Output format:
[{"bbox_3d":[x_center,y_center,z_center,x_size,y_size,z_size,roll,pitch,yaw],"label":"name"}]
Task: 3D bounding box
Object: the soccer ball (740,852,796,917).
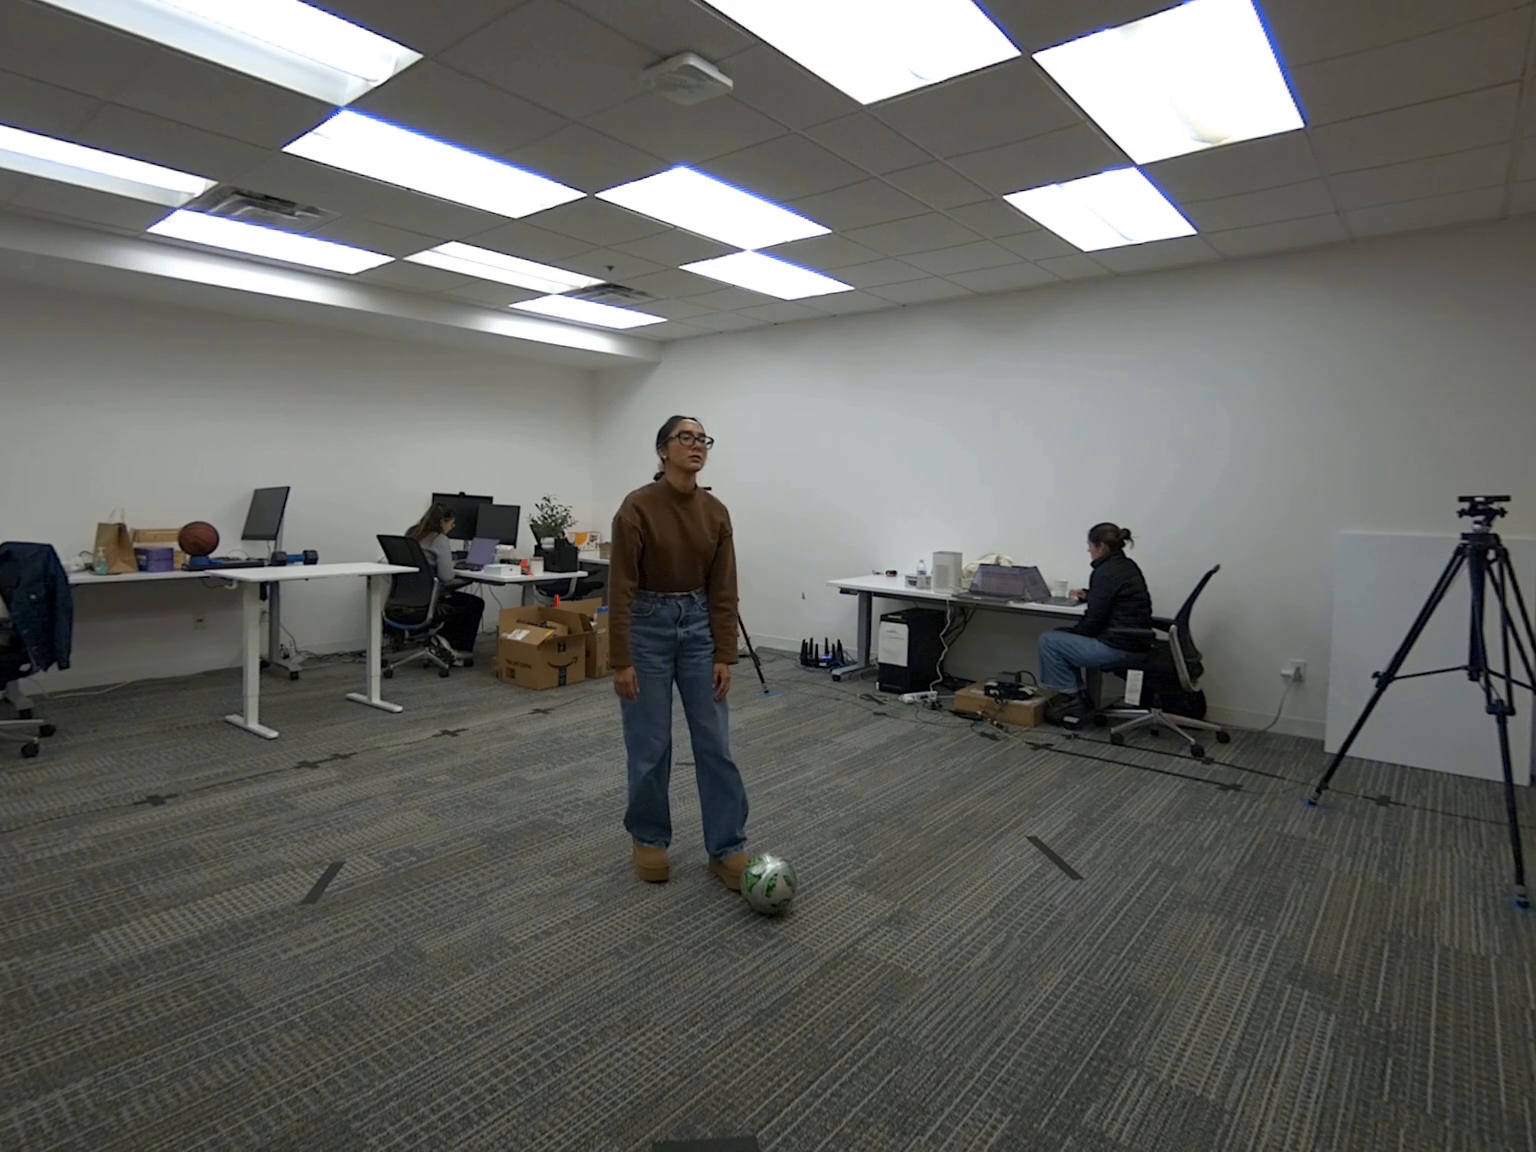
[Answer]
[{"bbox_3d":[-0.004,1.005,2.799,0.187,0.187,0.188,1,4,-2],"label":"soccer ball"}]
